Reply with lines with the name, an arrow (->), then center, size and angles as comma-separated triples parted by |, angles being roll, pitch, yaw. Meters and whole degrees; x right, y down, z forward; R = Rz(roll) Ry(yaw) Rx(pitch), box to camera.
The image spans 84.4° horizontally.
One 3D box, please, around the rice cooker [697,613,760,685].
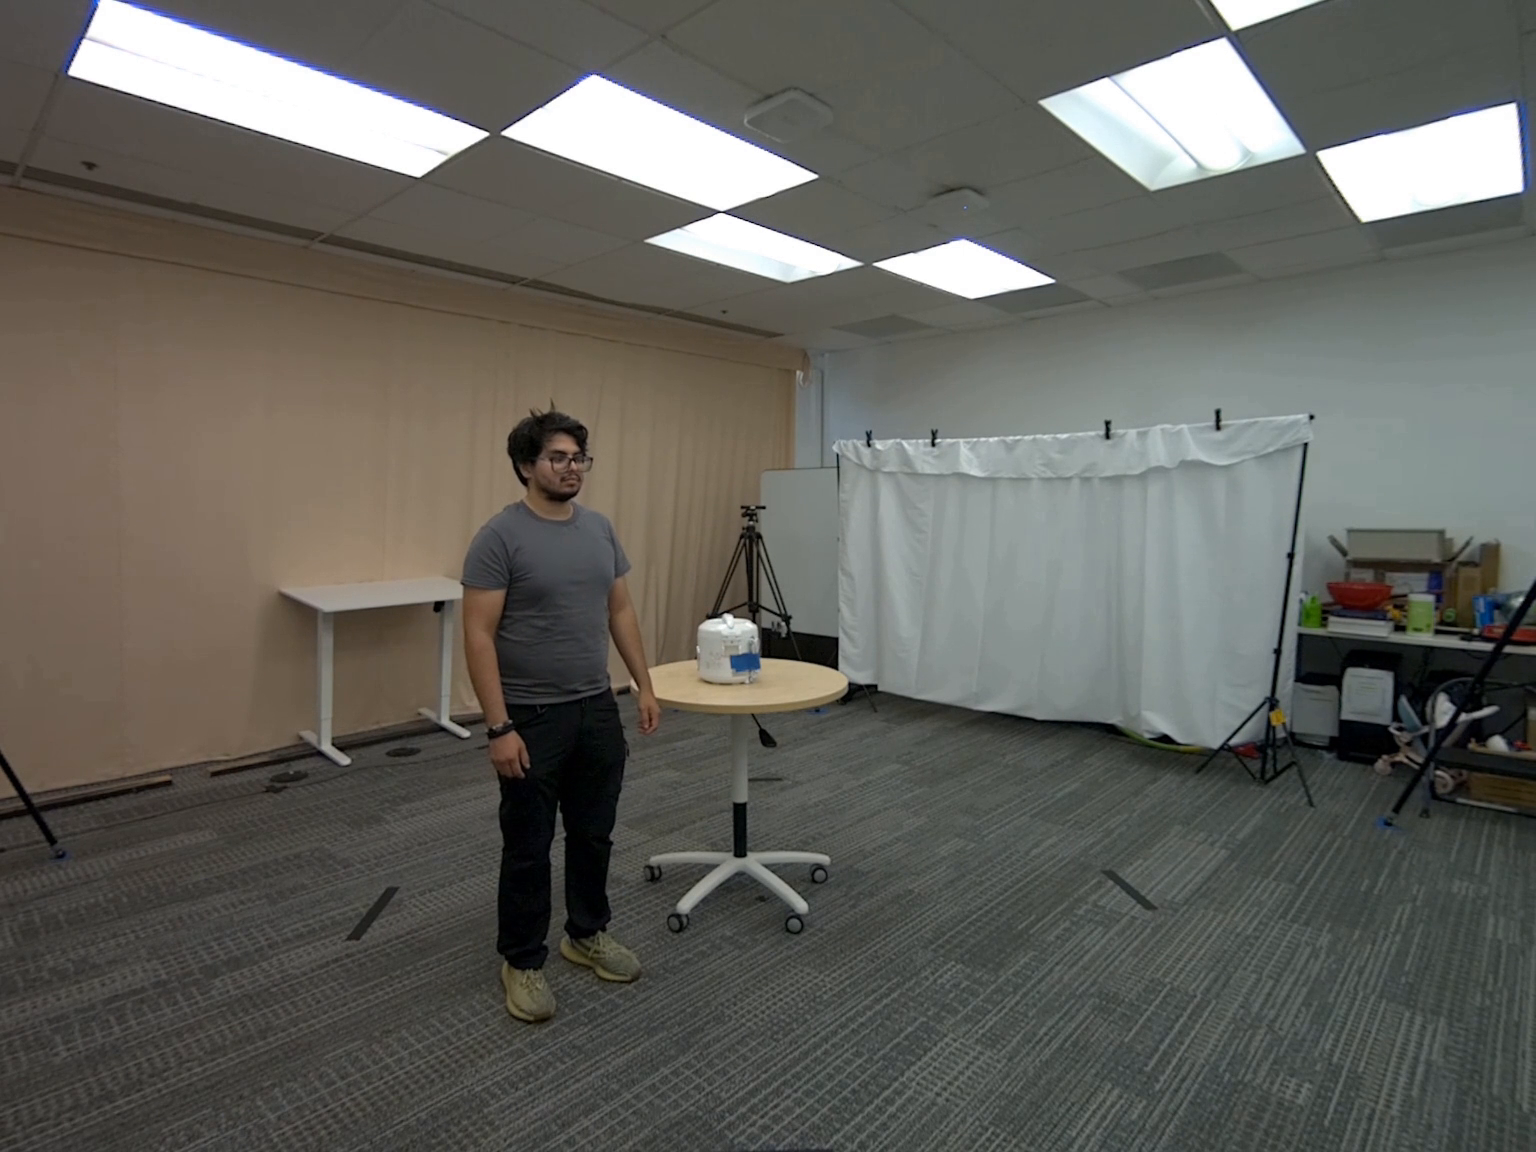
rice cooker -> -0.139, 0.250, 2.956 | 0.216, 0.232, 0.223 | -1, 4, -7
